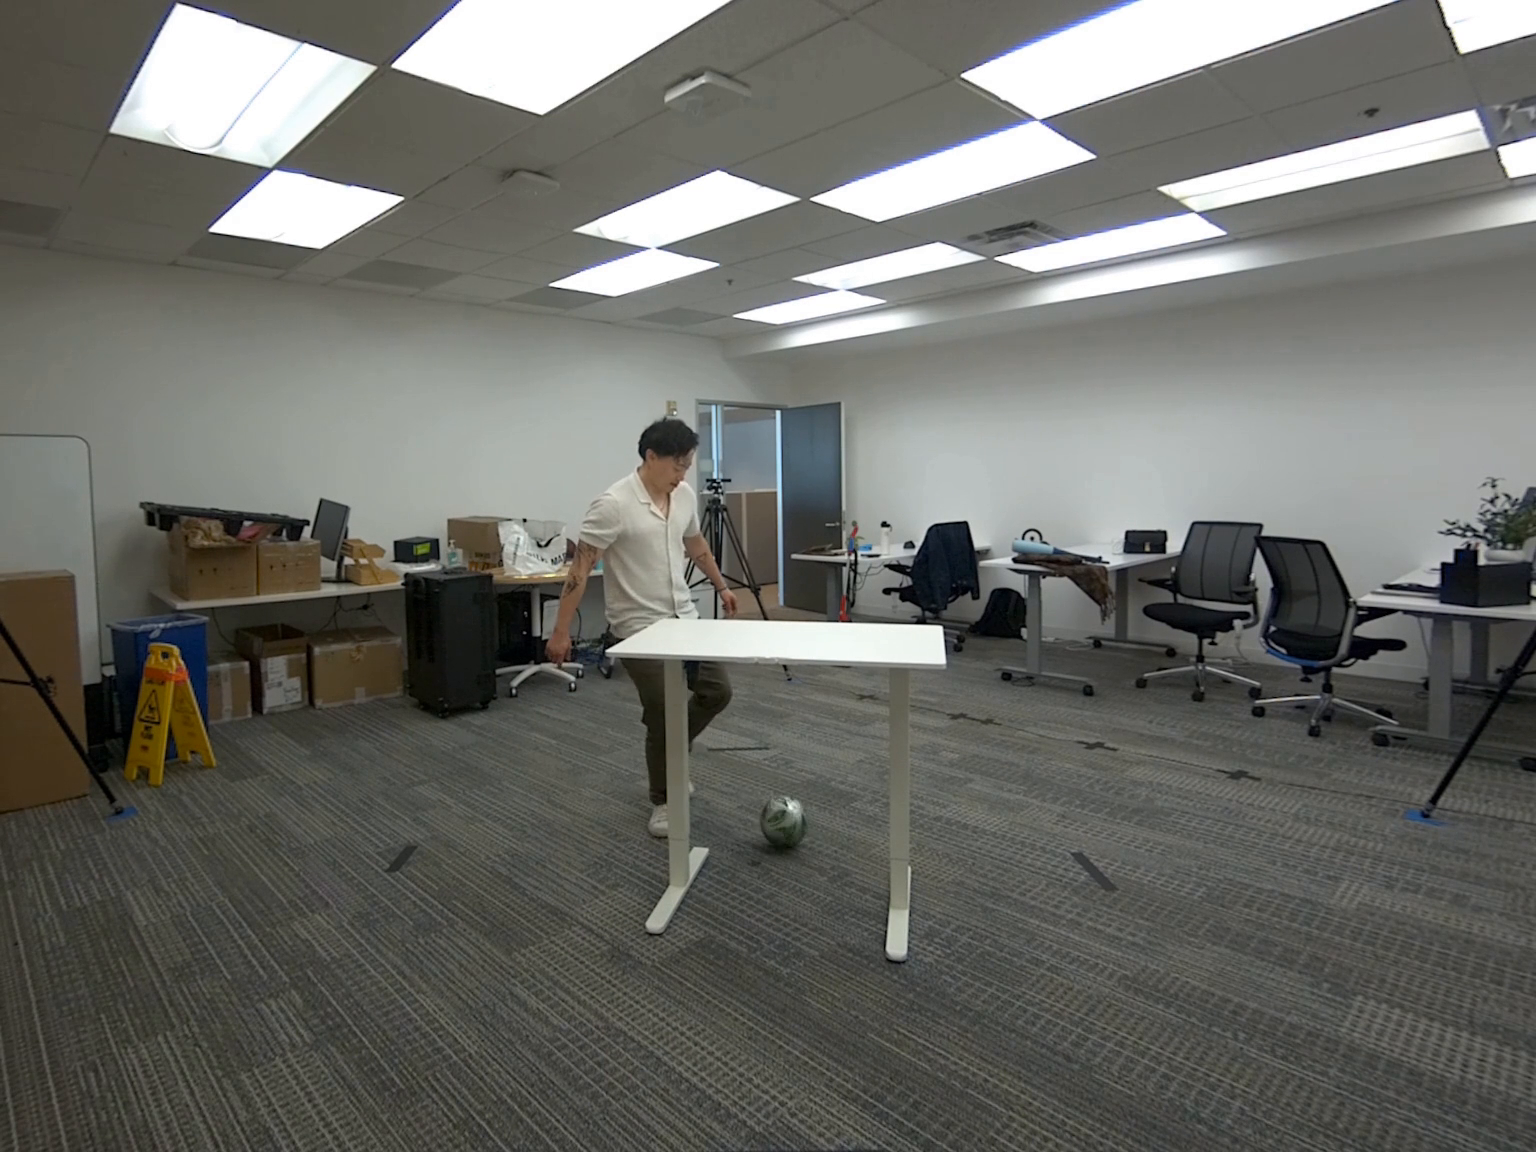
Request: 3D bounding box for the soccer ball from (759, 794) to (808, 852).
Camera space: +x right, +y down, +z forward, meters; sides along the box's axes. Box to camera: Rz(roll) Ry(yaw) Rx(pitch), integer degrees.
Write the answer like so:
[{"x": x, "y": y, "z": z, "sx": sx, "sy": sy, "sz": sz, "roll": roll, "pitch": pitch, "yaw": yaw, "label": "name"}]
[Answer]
[{"x": 0.064, "y": 0.930, "z": 3.246, "sx": 0.187, "sy": 0.187, "sz": 0.188, "roll": -1, "pitch": 5, "yaw": -2, "label": "soccer ball"}]
